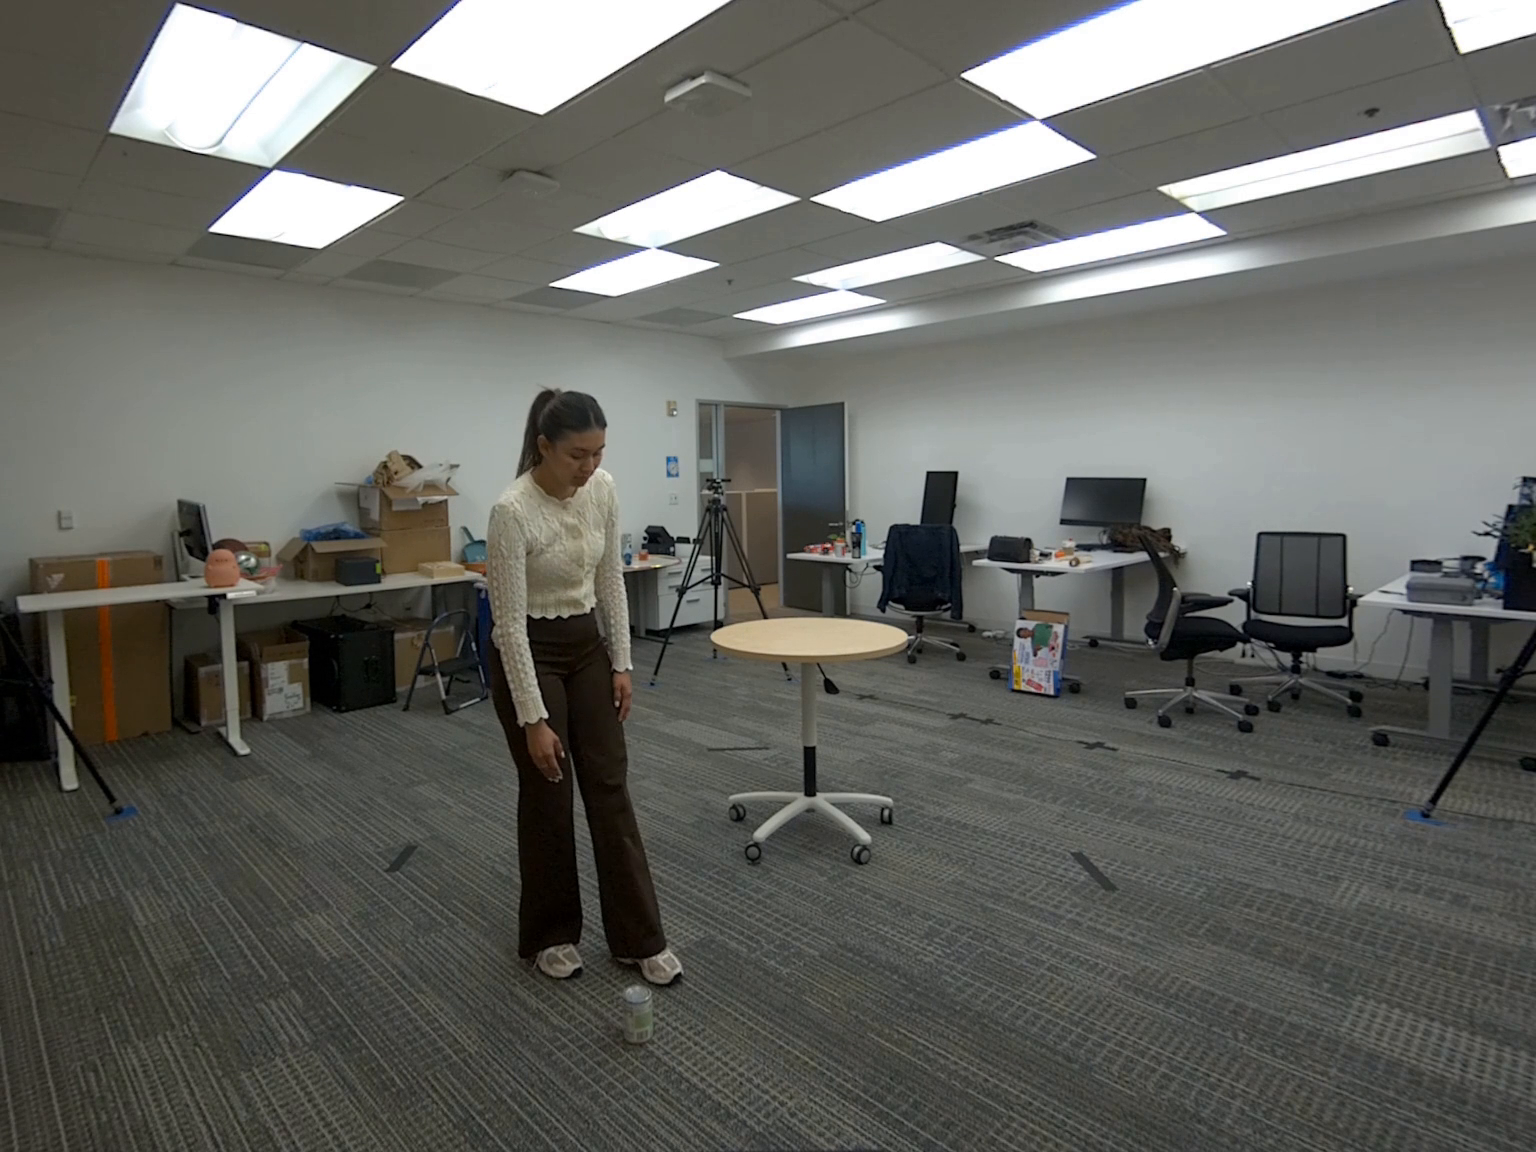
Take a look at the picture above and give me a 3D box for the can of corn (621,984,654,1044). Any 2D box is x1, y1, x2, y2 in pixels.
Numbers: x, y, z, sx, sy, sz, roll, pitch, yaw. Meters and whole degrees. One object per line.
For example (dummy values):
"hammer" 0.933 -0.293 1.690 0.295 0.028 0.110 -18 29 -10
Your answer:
"can of corn" -0.326 1.113 2.150 0.074 0.110 0.075 -1 6 -2
